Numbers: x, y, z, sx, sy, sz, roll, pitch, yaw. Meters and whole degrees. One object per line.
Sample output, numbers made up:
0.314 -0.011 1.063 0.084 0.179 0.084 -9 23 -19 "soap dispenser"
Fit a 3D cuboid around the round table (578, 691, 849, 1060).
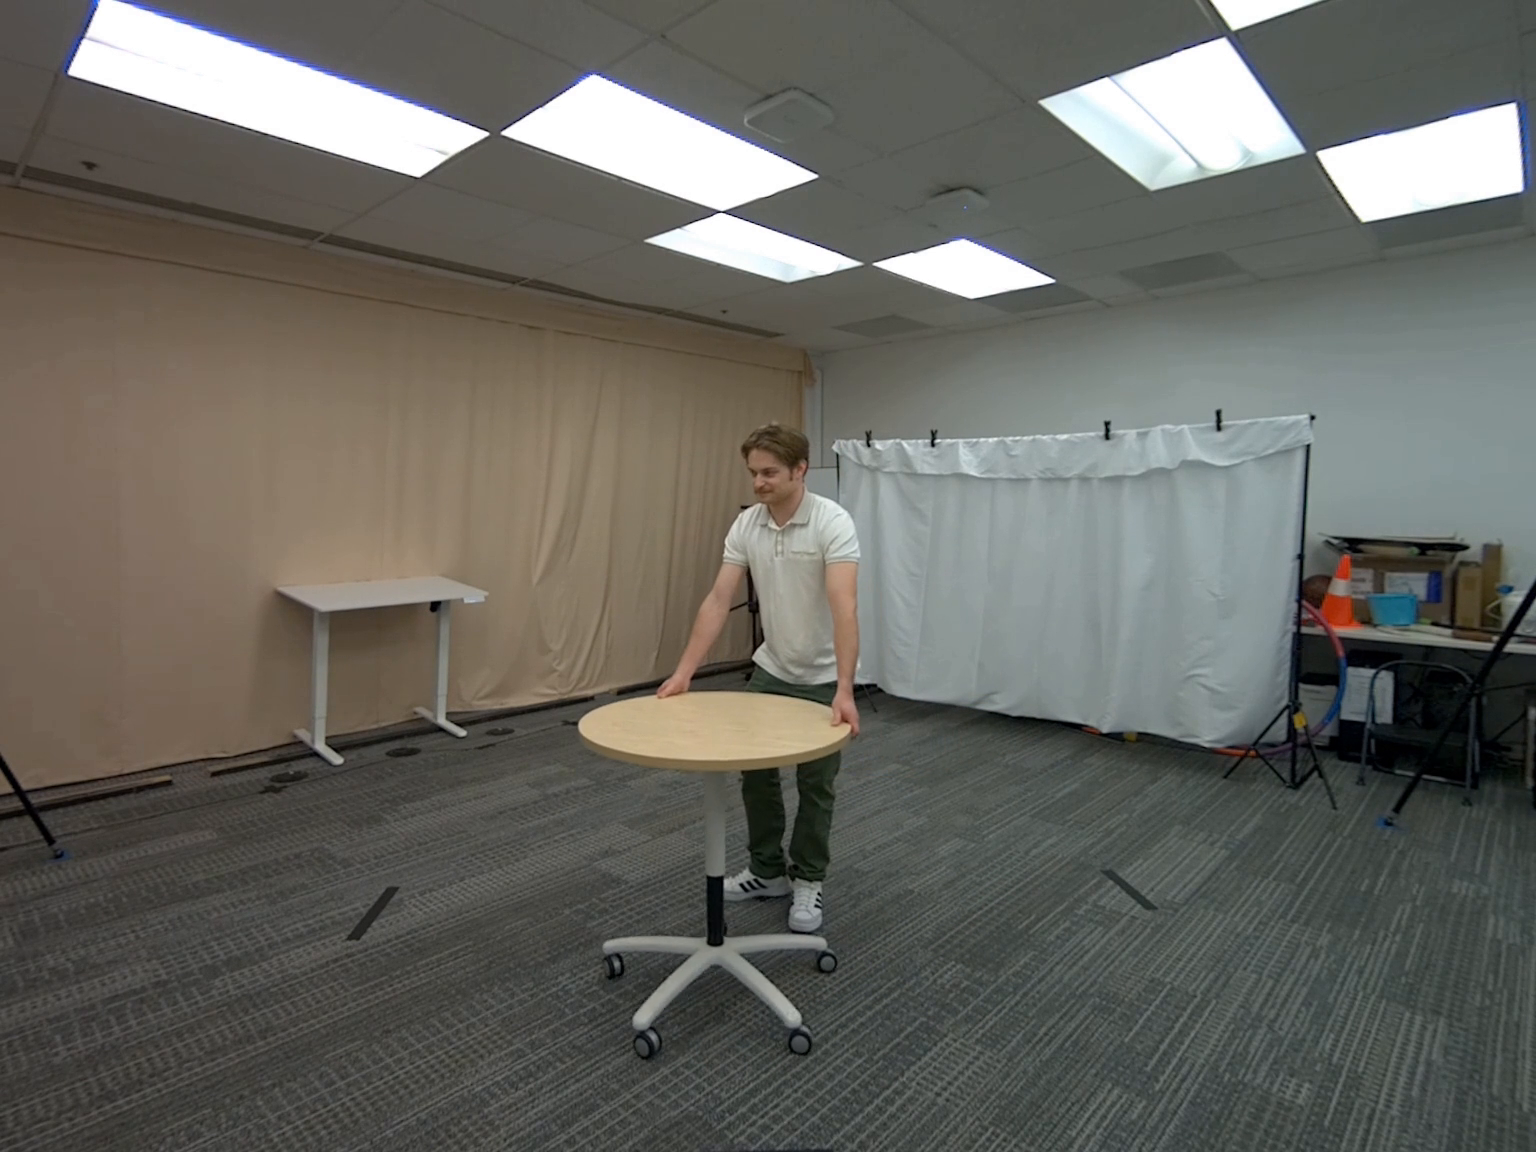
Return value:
-0.152 0.806 2.402 0.763 0.792 0.766 0 4 -2 "round table"
